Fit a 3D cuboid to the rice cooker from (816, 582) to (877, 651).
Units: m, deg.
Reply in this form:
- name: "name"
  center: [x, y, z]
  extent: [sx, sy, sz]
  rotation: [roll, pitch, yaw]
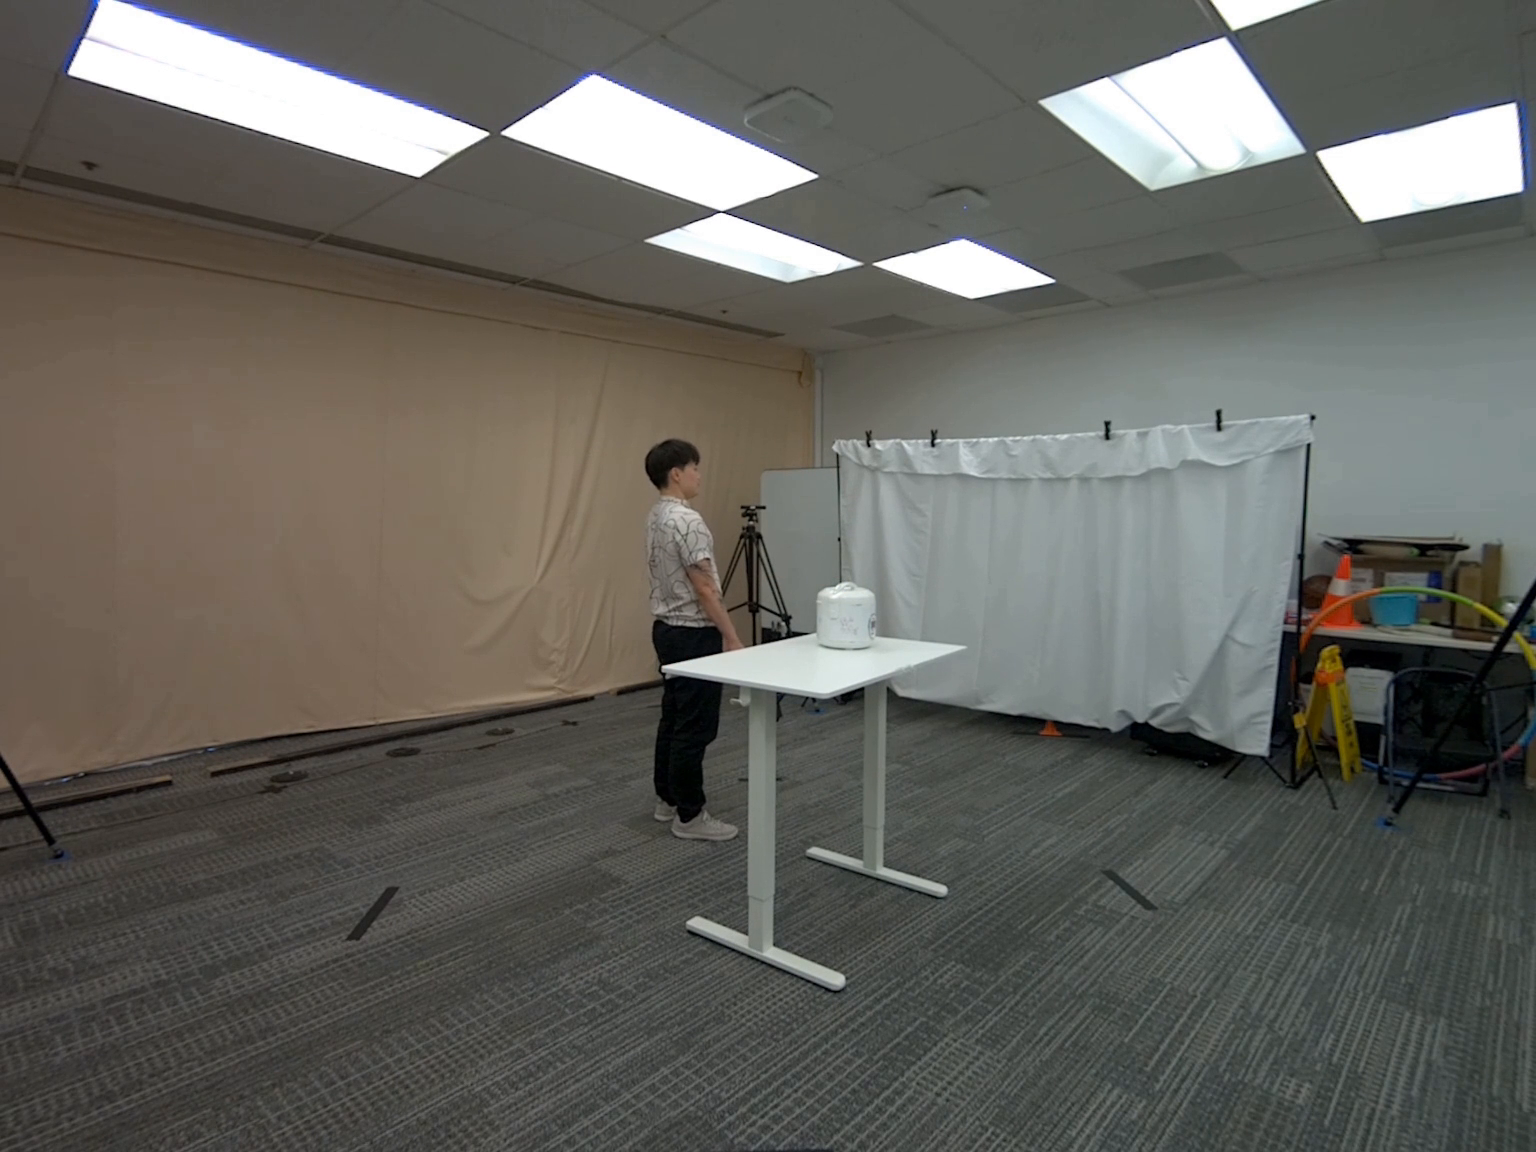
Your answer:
- name: "rice cooker"
  center: [0.290, 0.138, 3.049]
  extent: [0.224, 0.232, 0.214]
  rotation: [1, 3, 33]
